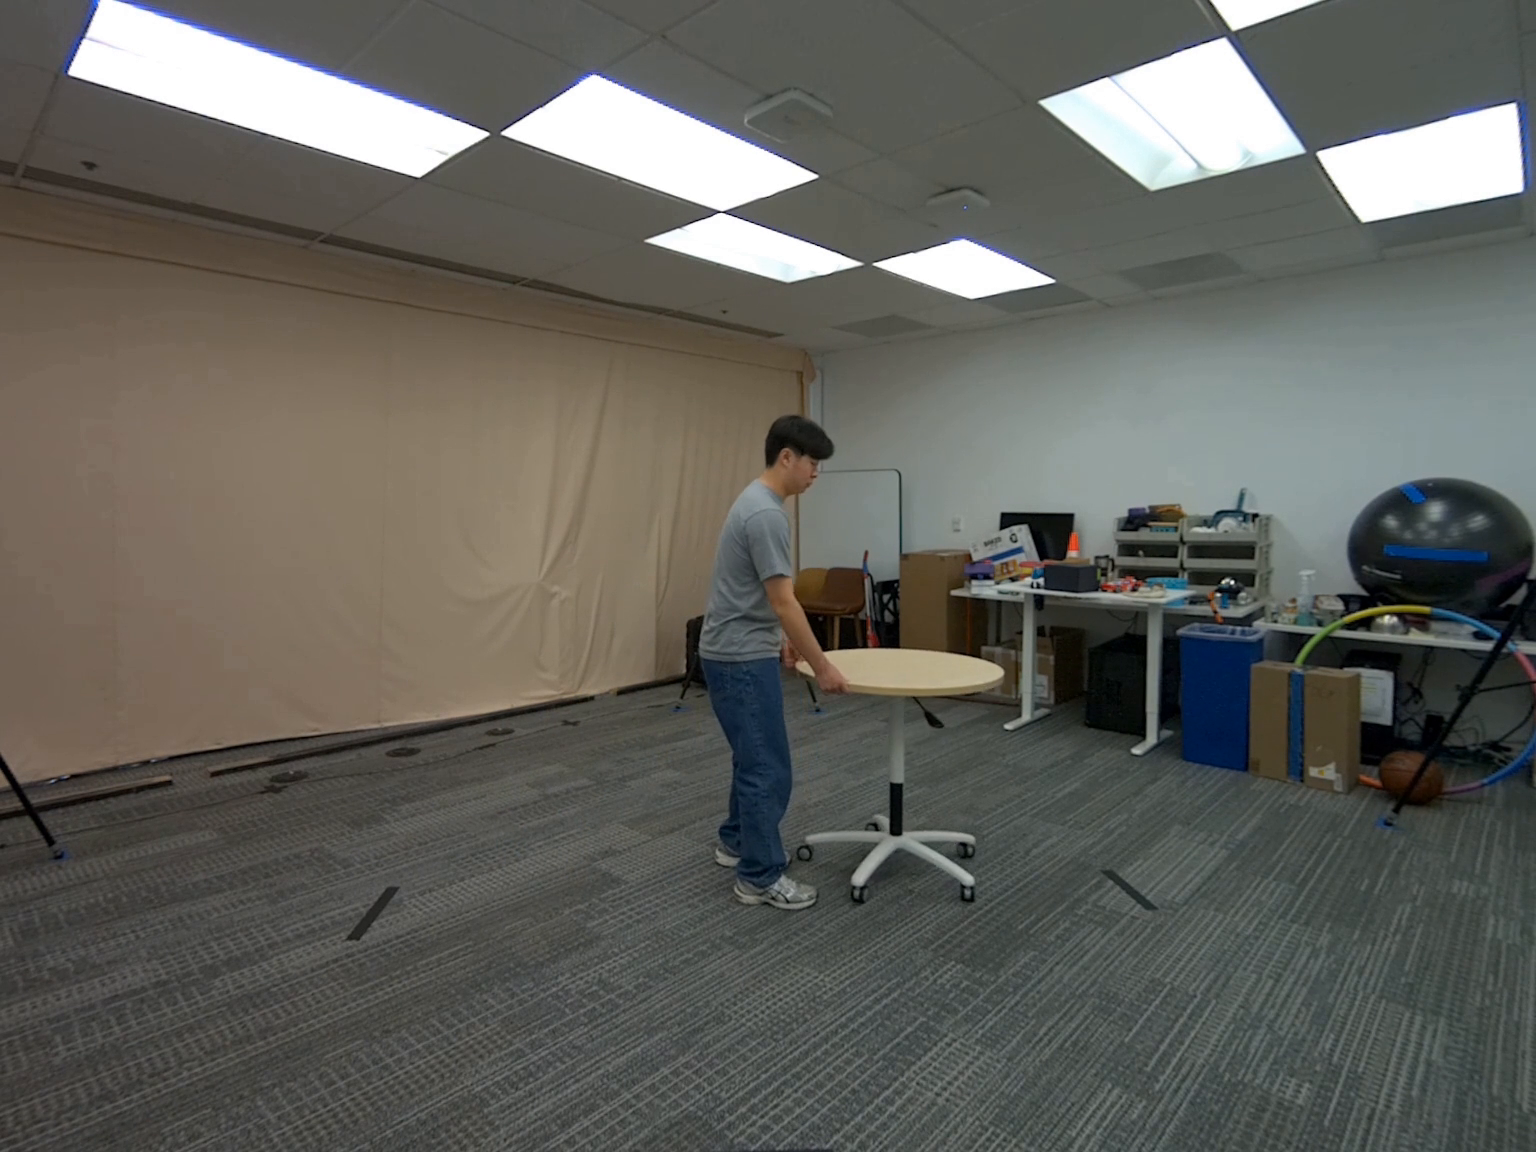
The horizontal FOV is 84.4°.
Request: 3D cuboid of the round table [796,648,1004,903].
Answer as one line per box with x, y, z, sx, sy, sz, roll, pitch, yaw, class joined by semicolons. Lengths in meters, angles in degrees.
0.487;0.737;3.188;0.763;0.792;0.767;0;4;-2;round table
